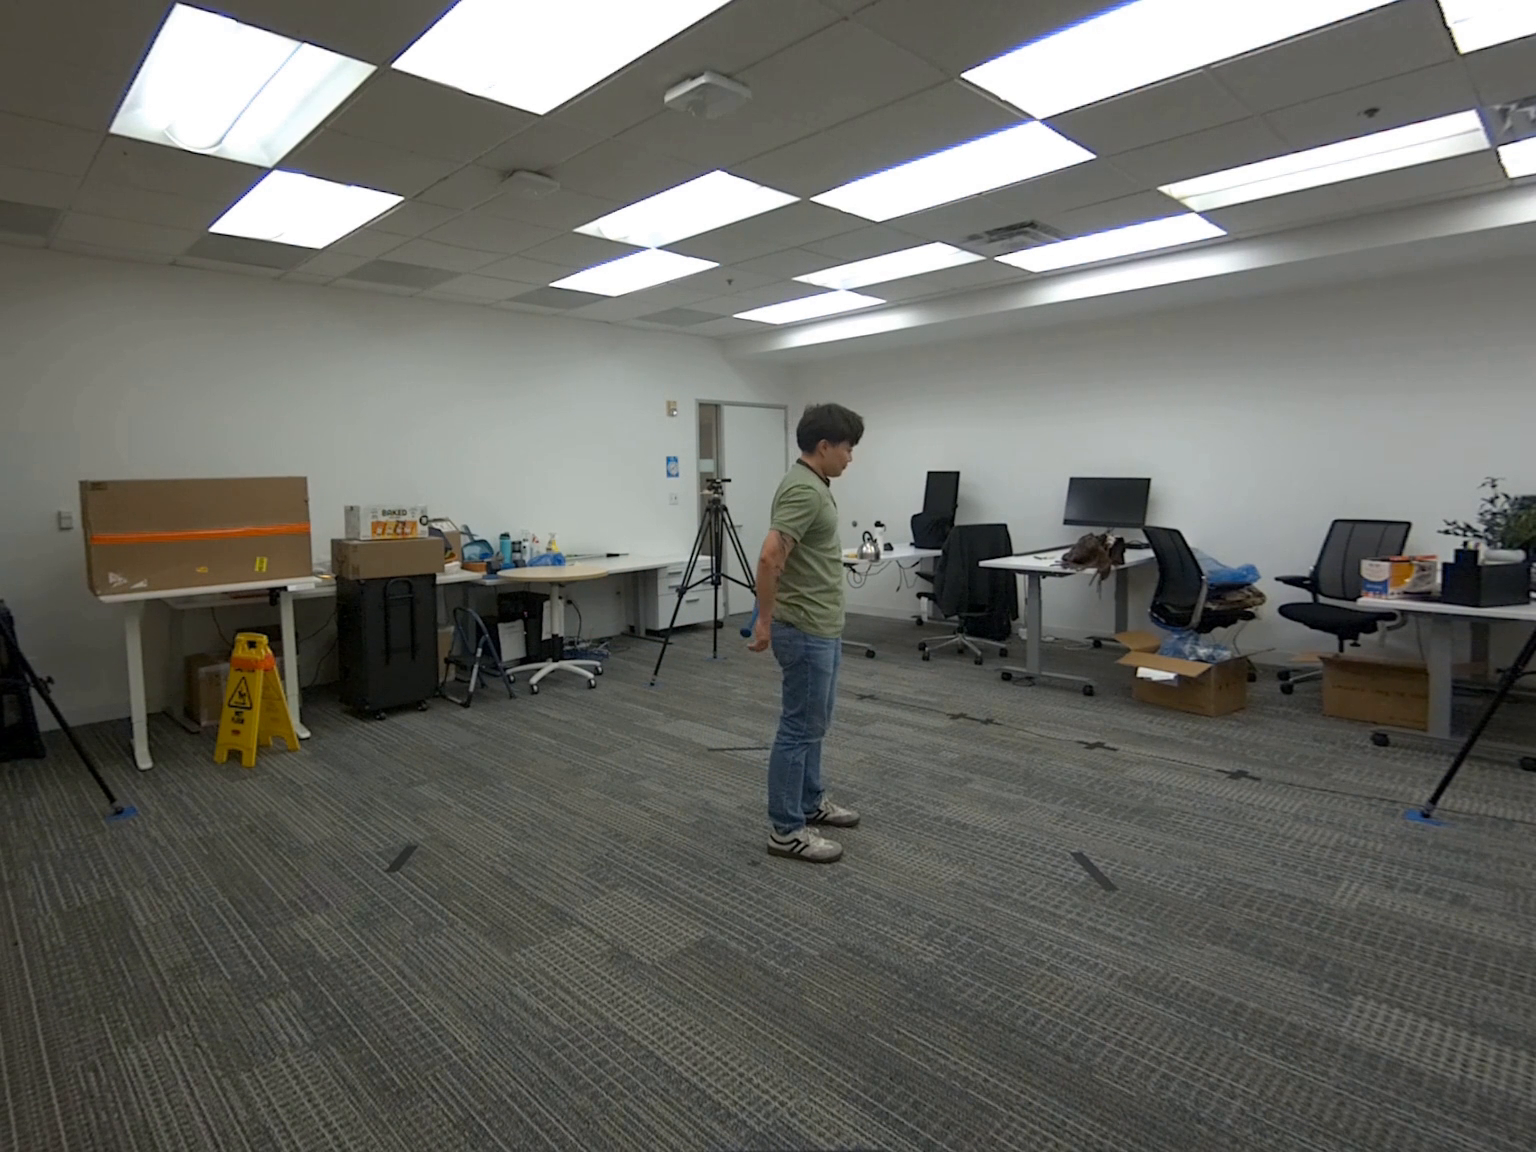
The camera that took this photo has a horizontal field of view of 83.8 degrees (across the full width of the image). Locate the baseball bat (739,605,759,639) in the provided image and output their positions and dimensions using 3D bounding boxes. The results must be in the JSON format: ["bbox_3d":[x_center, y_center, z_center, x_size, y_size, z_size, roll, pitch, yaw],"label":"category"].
[{"bbox_3d":[-0.009,0.082,3.721,0.090,0.086,0.551,0,38,16],"label":"baseball bat"}]
